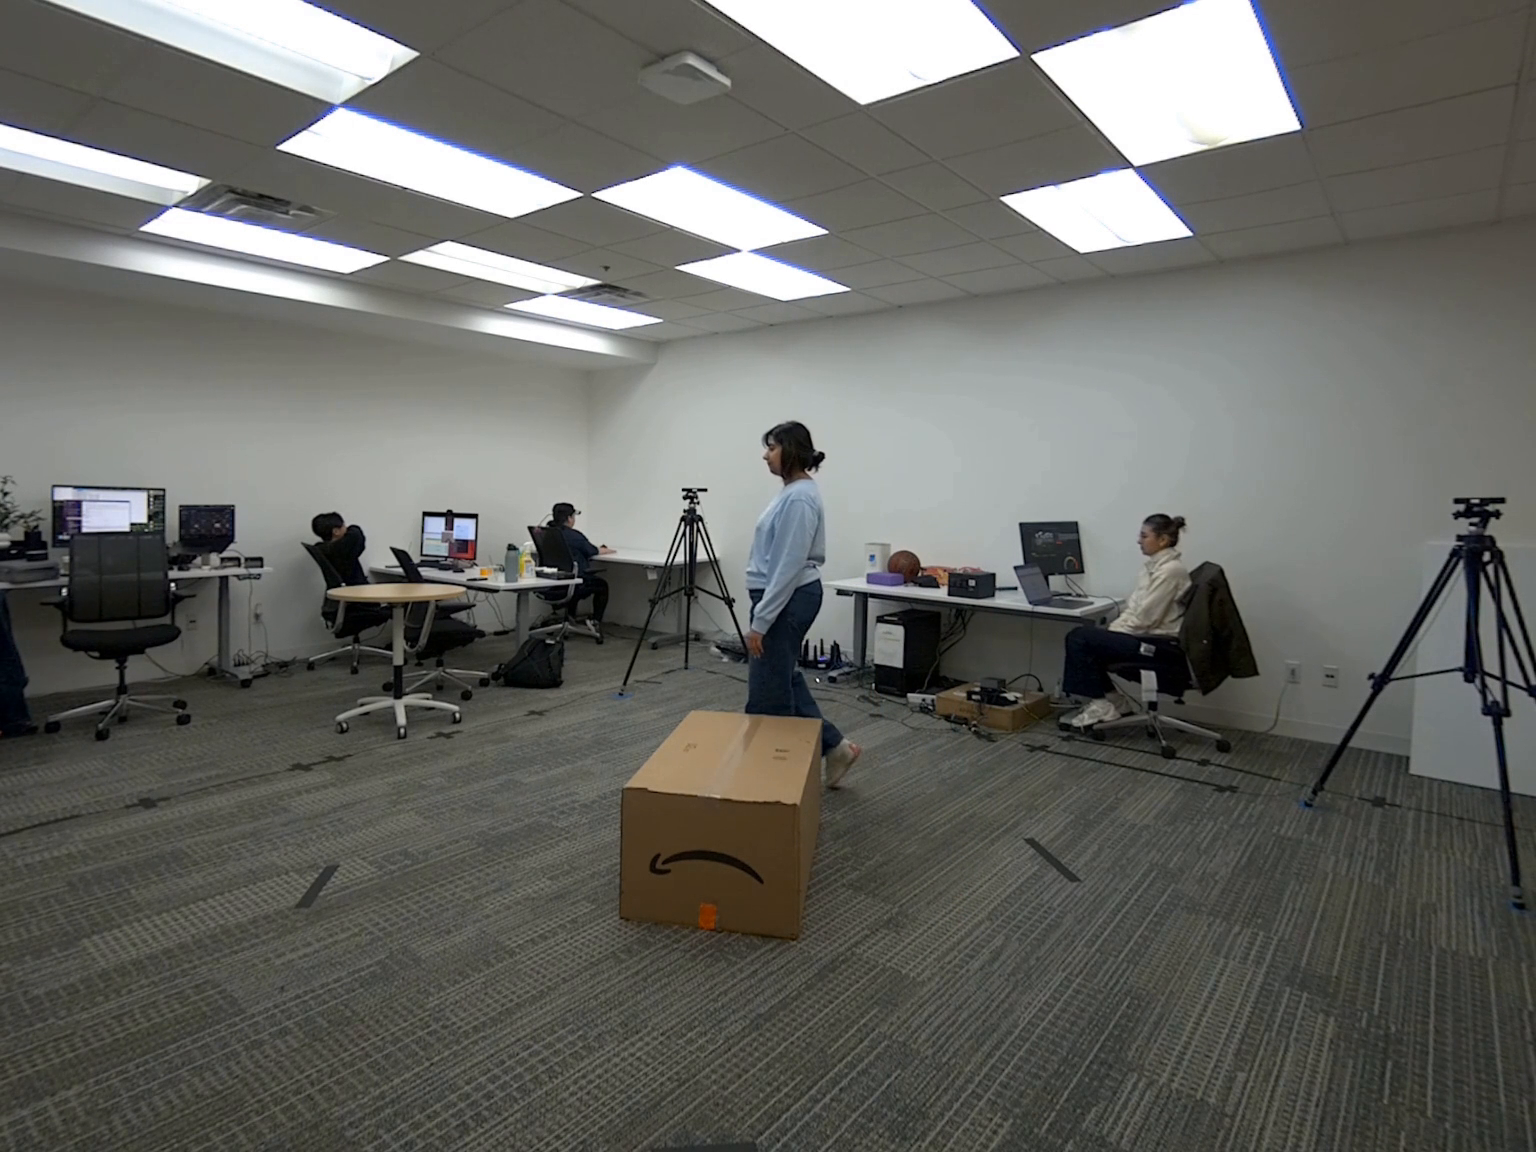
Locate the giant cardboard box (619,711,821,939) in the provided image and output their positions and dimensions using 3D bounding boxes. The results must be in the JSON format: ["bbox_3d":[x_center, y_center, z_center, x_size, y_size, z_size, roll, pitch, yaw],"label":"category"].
[{"bbox_3d":[-0.136,0.849,3.161,0.584,0.425,1.018,2,5,9],"label":"giant cardboard box"}]
